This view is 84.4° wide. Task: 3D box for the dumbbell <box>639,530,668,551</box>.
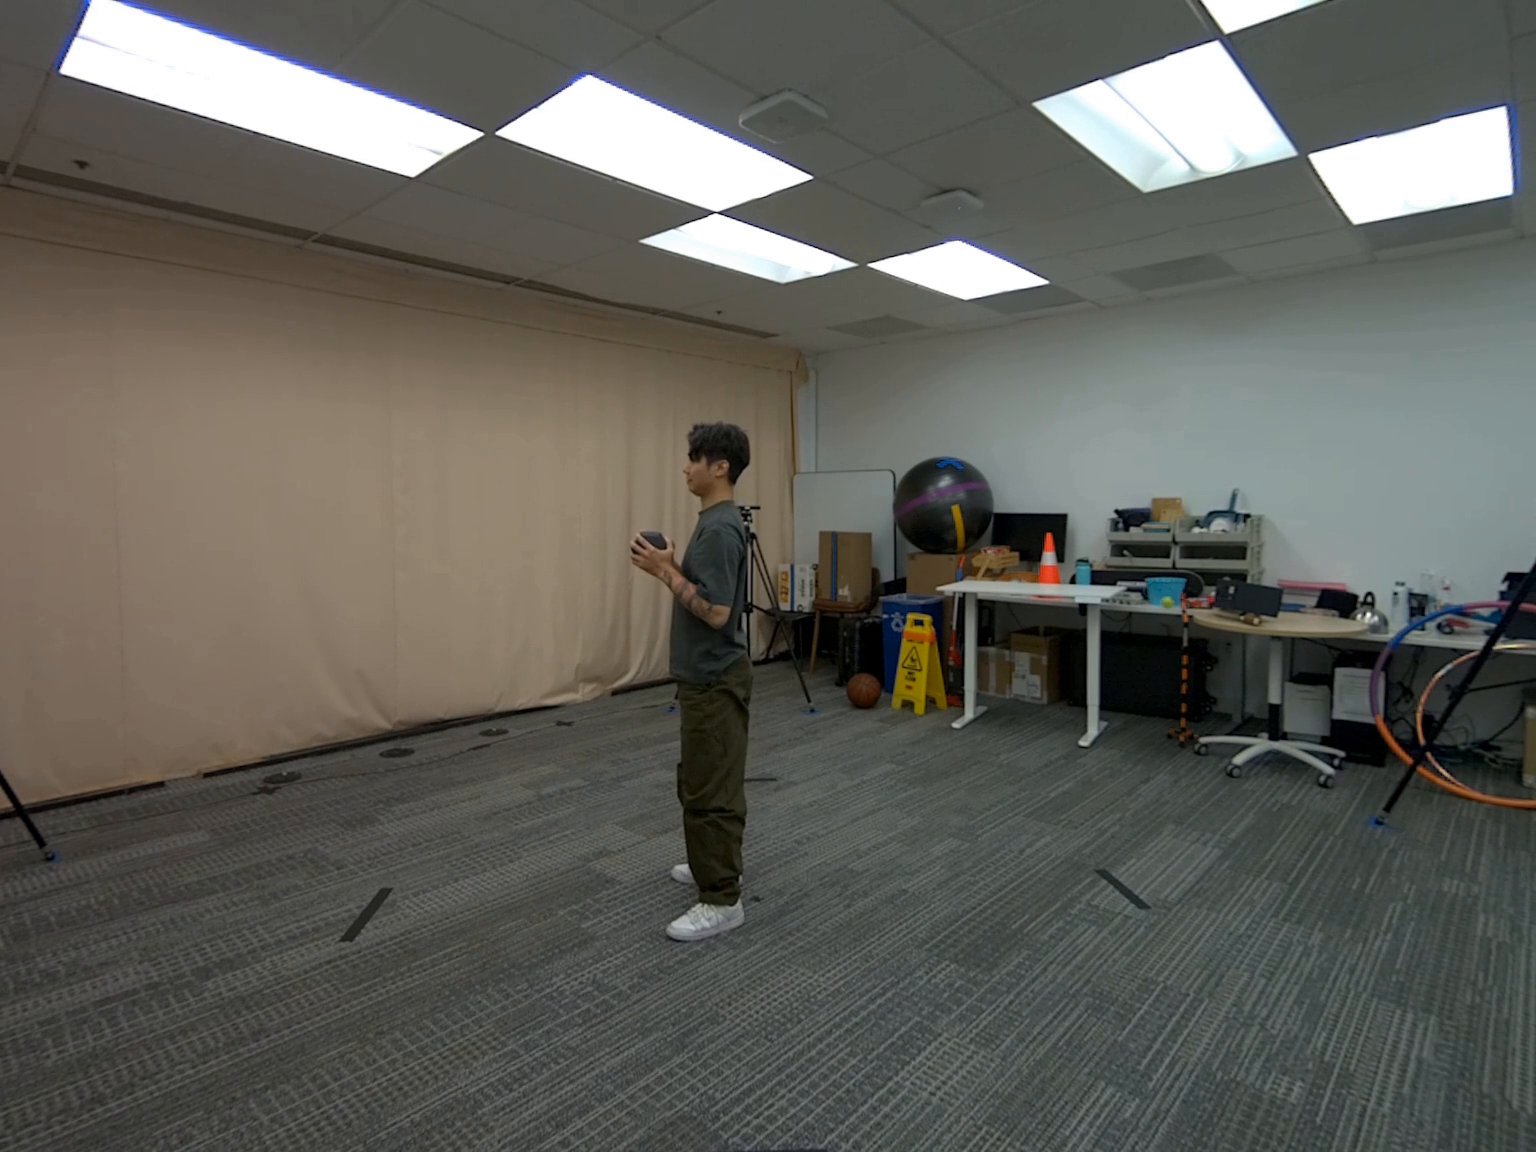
[{"bbox_3d":[-0.381,-0.090,2.885,0.108,0.122,0.295,-30,4,-5],"label":"dumbbell"}]
